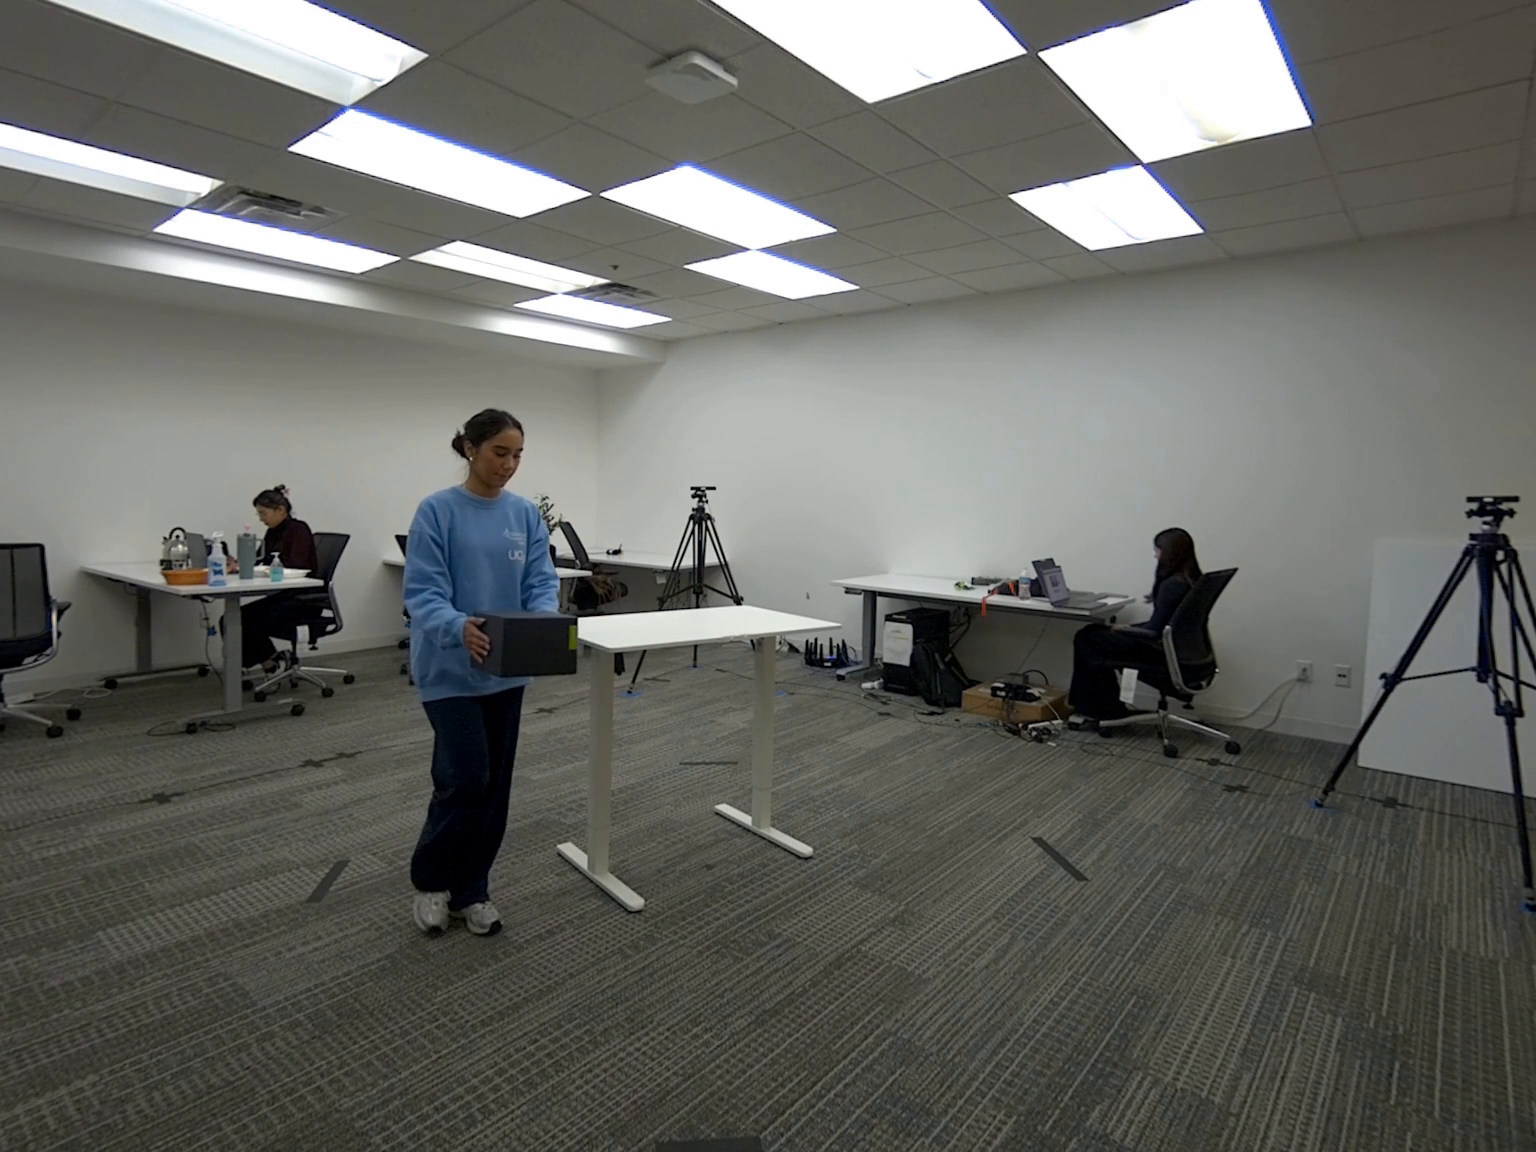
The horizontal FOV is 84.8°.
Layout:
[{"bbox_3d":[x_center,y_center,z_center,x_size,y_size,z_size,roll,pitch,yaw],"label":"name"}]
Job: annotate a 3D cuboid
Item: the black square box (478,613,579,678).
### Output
[{"bbox_3d":[-0.673,0.184,2.327,0.210,0.156,0.235,3,-1,-40],"label":"black square box"}]
